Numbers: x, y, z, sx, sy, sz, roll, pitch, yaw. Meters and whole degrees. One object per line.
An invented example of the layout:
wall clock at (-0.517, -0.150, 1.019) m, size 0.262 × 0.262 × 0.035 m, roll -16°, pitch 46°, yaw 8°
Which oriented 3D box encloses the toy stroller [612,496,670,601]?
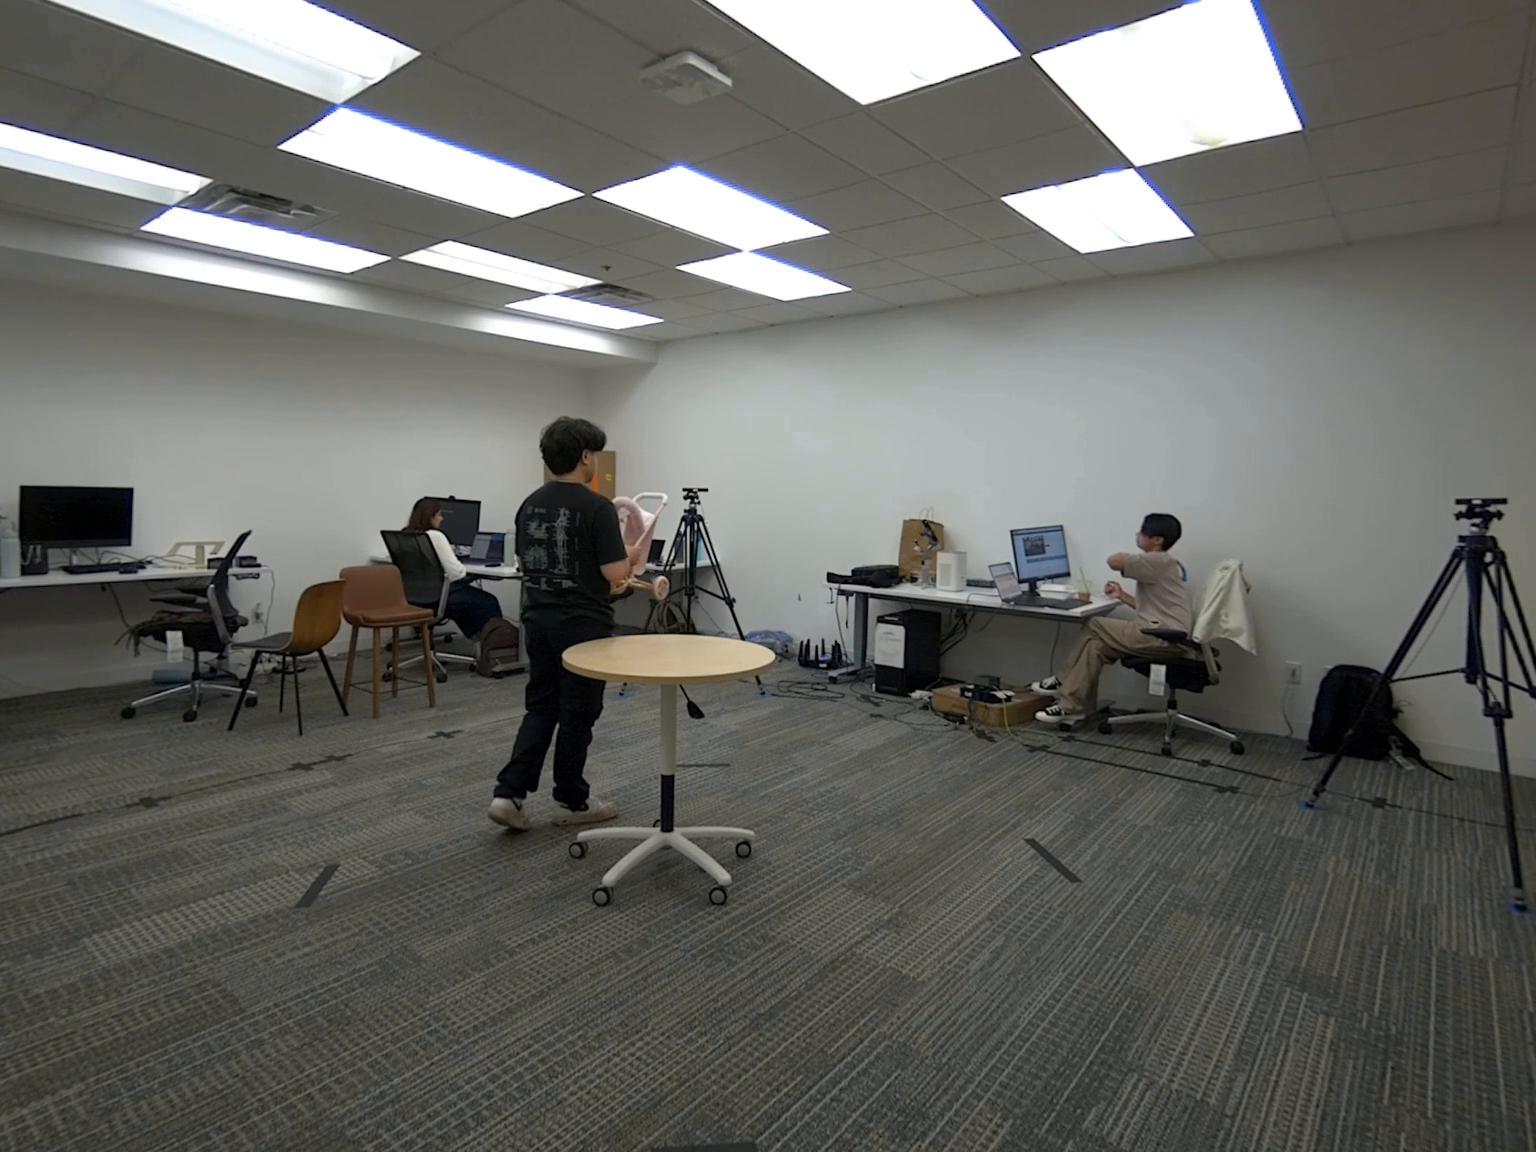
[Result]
toy stroller at (-0.647, -0.113, 3.768) m, size 0.291 × 0.534 × 0.330 m, roll 7°, pitch 3°, yaw 37°
